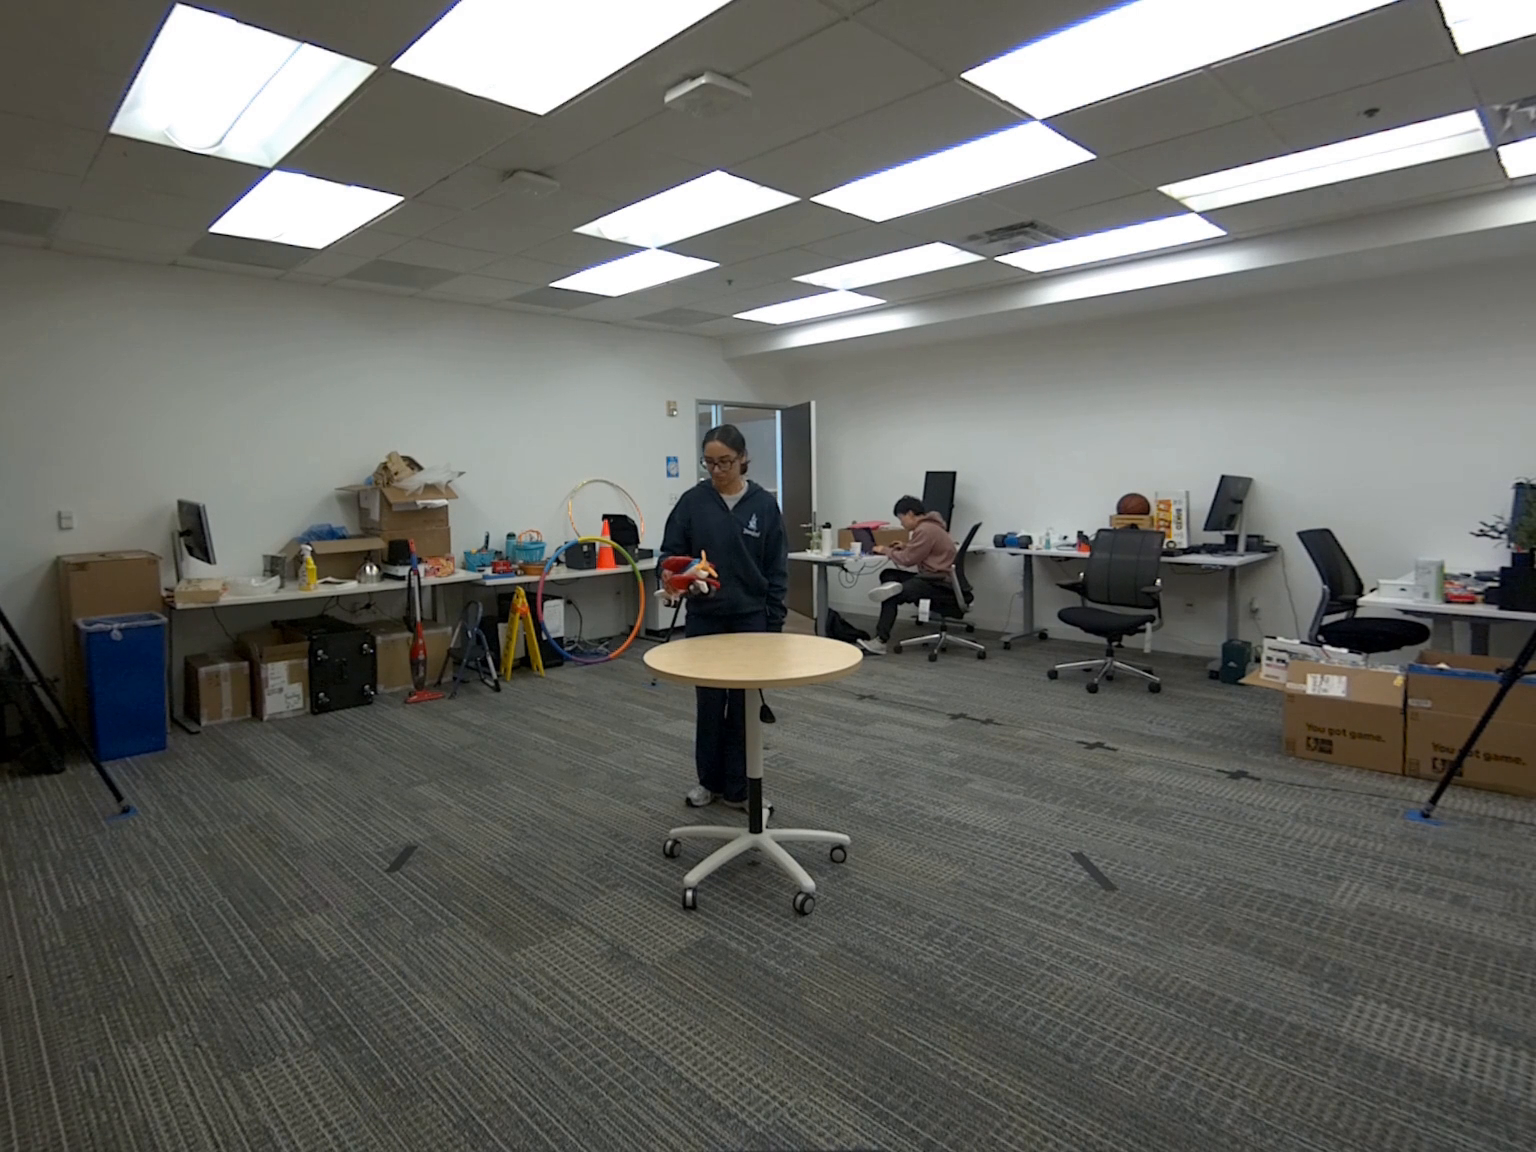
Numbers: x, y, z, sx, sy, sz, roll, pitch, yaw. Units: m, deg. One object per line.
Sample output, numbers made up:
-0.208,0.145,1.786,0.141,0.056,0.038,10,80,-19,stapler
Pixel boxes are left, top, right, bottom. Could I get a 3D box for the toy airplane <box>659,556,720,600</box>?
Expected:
-0.336,0.026,3.332,0.262,0.159,0.244,-10,-18,13,toy airplane
